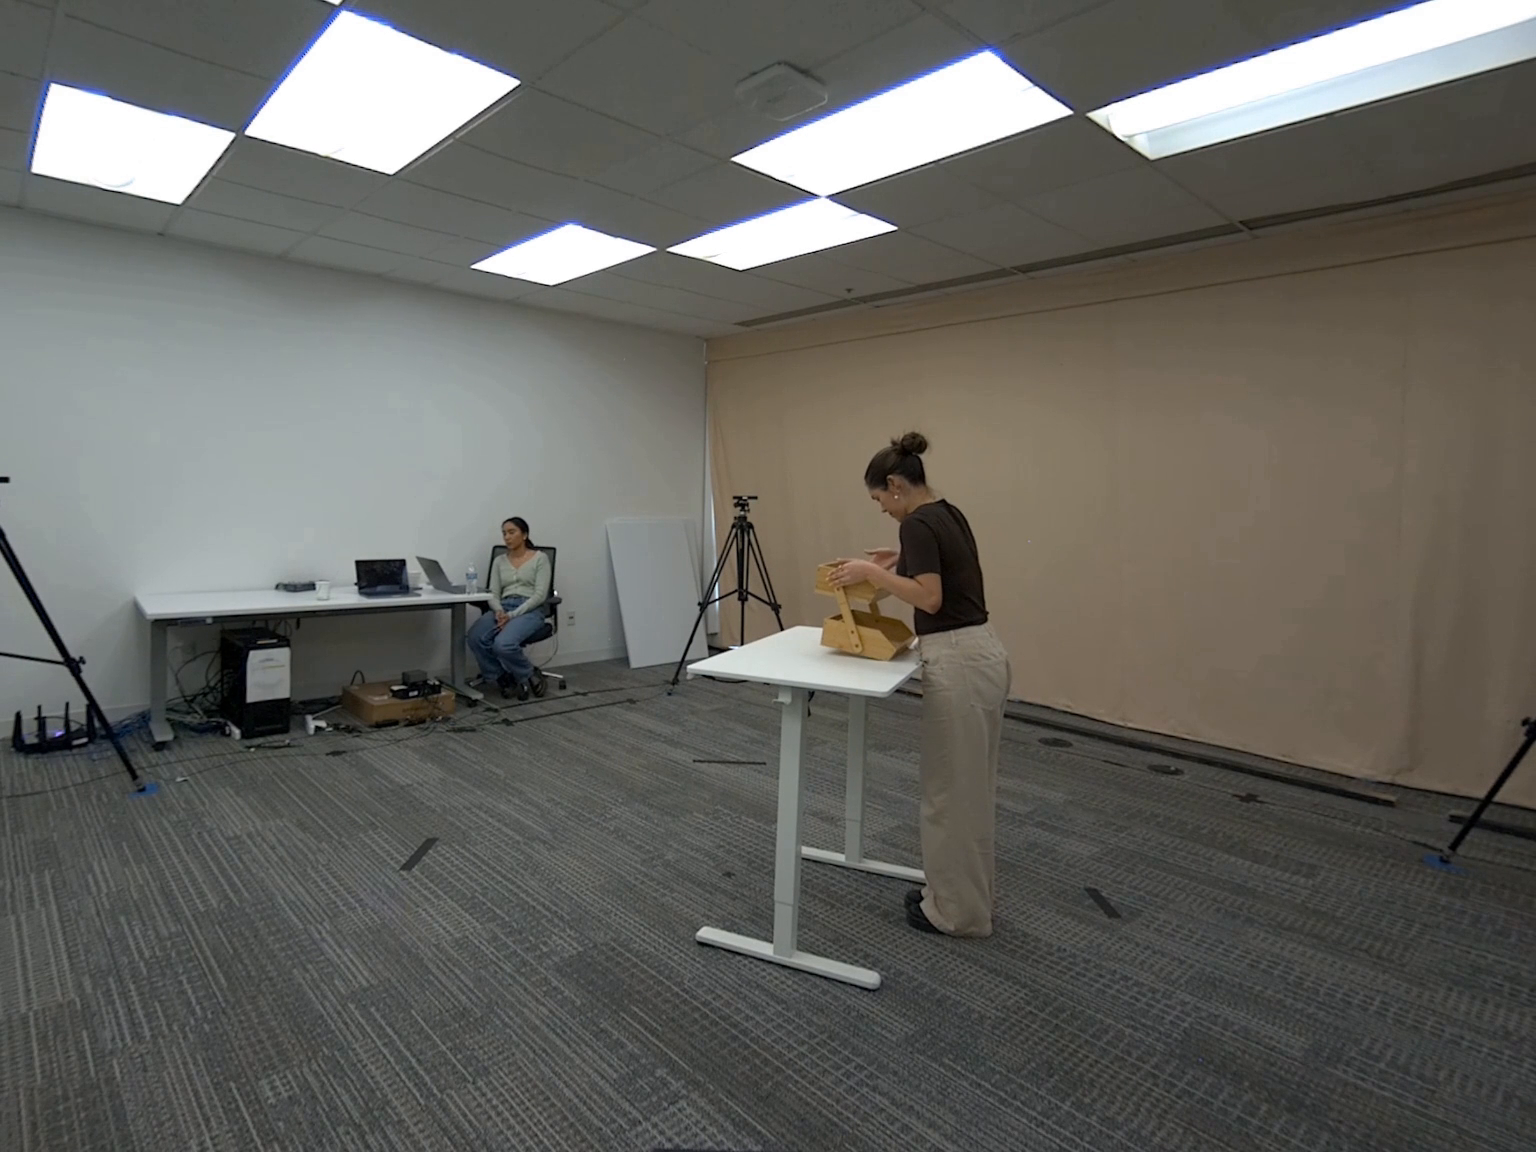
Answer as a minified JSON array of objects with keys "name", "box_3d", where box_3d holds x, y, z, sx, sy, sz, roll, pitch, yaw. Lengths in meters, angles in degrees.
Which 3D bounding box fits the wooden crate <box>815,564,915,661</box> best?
[{"name":"wooden crate","box_3d":[0.337,0.112,2.849,0.308,0.272,0.319,12,7,23]}]
